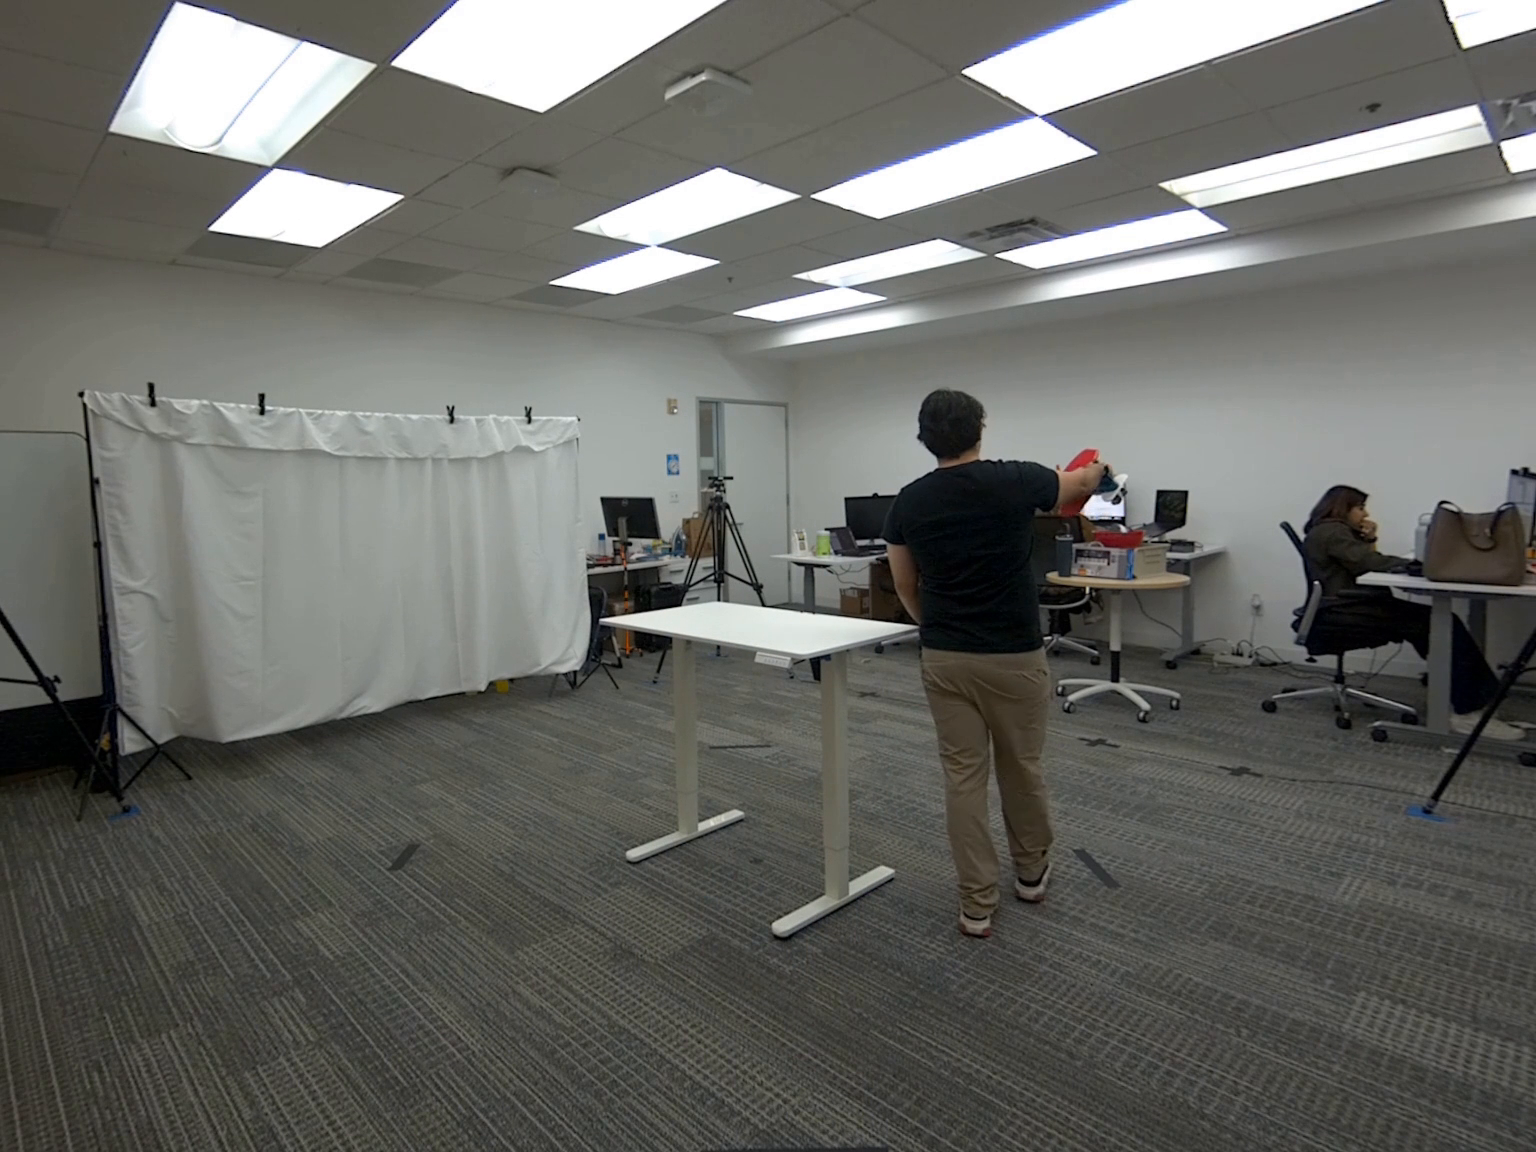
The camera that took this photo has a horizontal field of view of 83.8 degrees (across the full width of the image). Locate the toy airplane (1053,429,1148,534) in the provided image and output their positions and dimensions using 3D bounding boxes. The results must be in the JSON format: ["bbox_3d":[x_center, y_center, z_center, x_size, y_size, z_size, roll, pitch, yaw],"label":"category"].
[{"bbox_3d":[1.169,-0.335,3.043,0.262,0.153,0.253,-31,24,47],"label":"toy airplane"}]
